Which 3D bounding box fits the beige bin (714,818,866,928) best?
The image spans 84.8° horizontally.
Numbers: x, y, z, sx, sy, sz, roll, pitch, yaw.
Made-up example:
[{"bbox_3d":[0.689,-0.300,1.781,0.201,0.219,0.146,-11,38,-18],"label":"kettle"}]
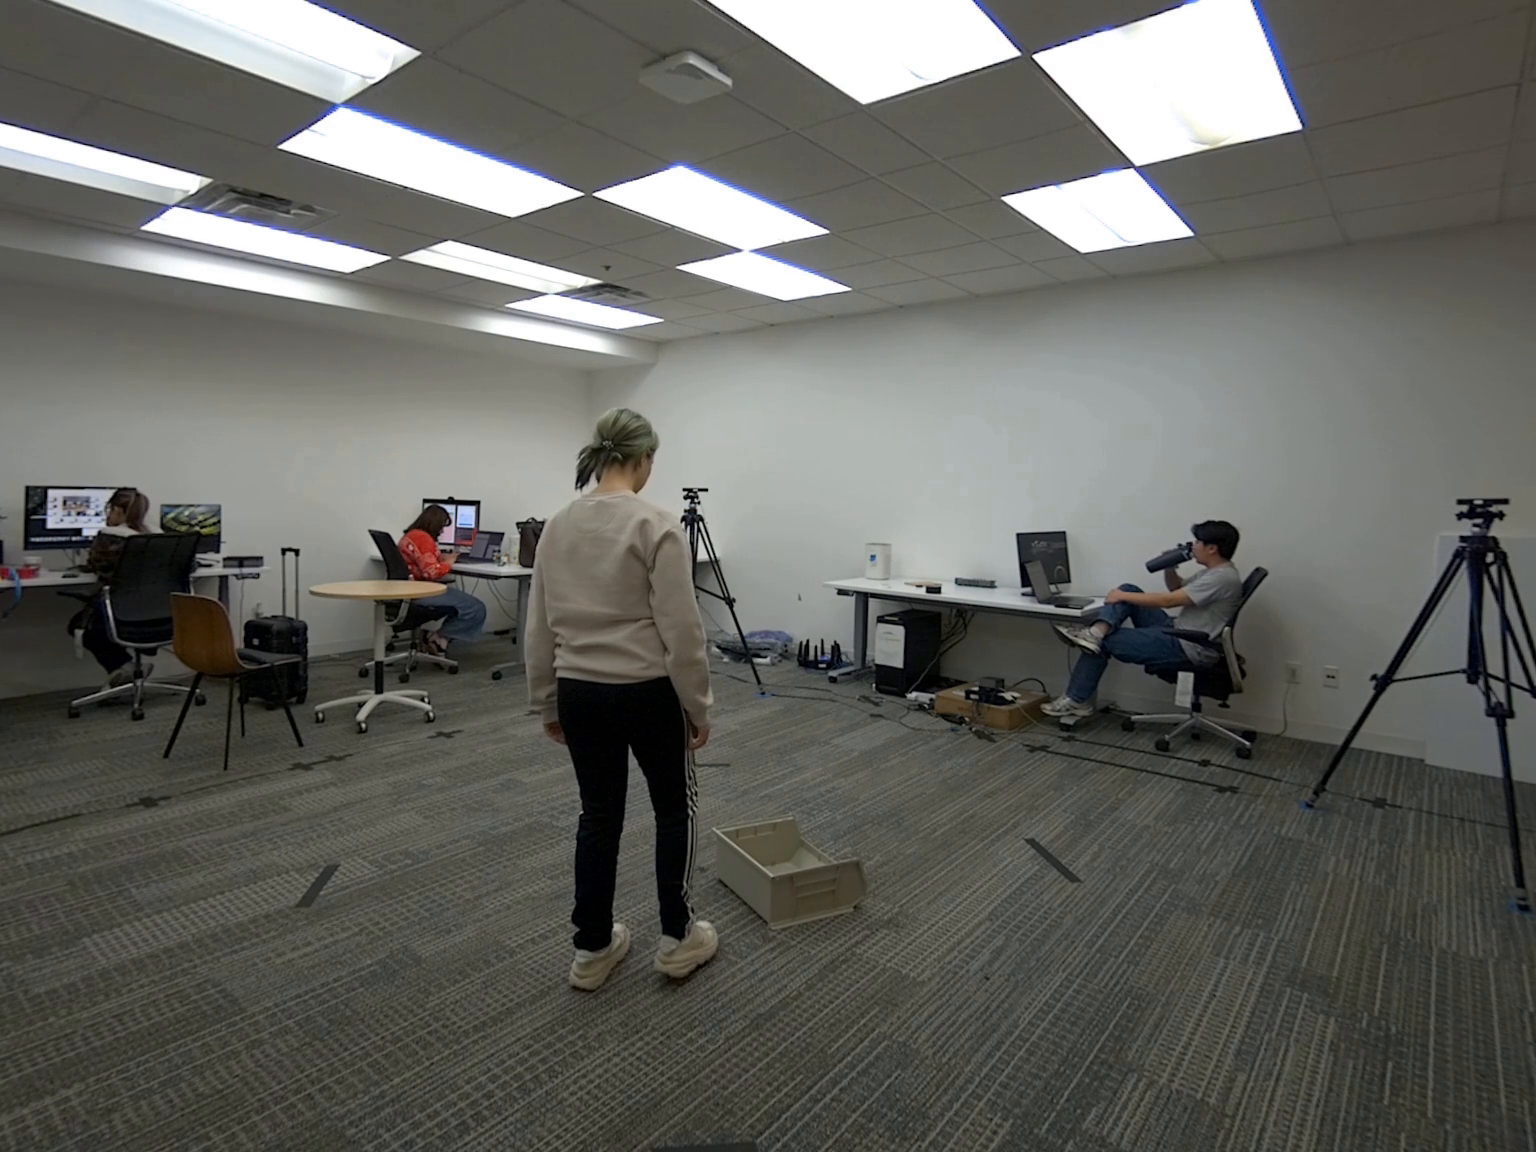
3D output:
[{"bbox_3d":[0.061,1.004,2.938,0.368,0.188,0.435,-2,7,-29],"label":"beige bin"}]
